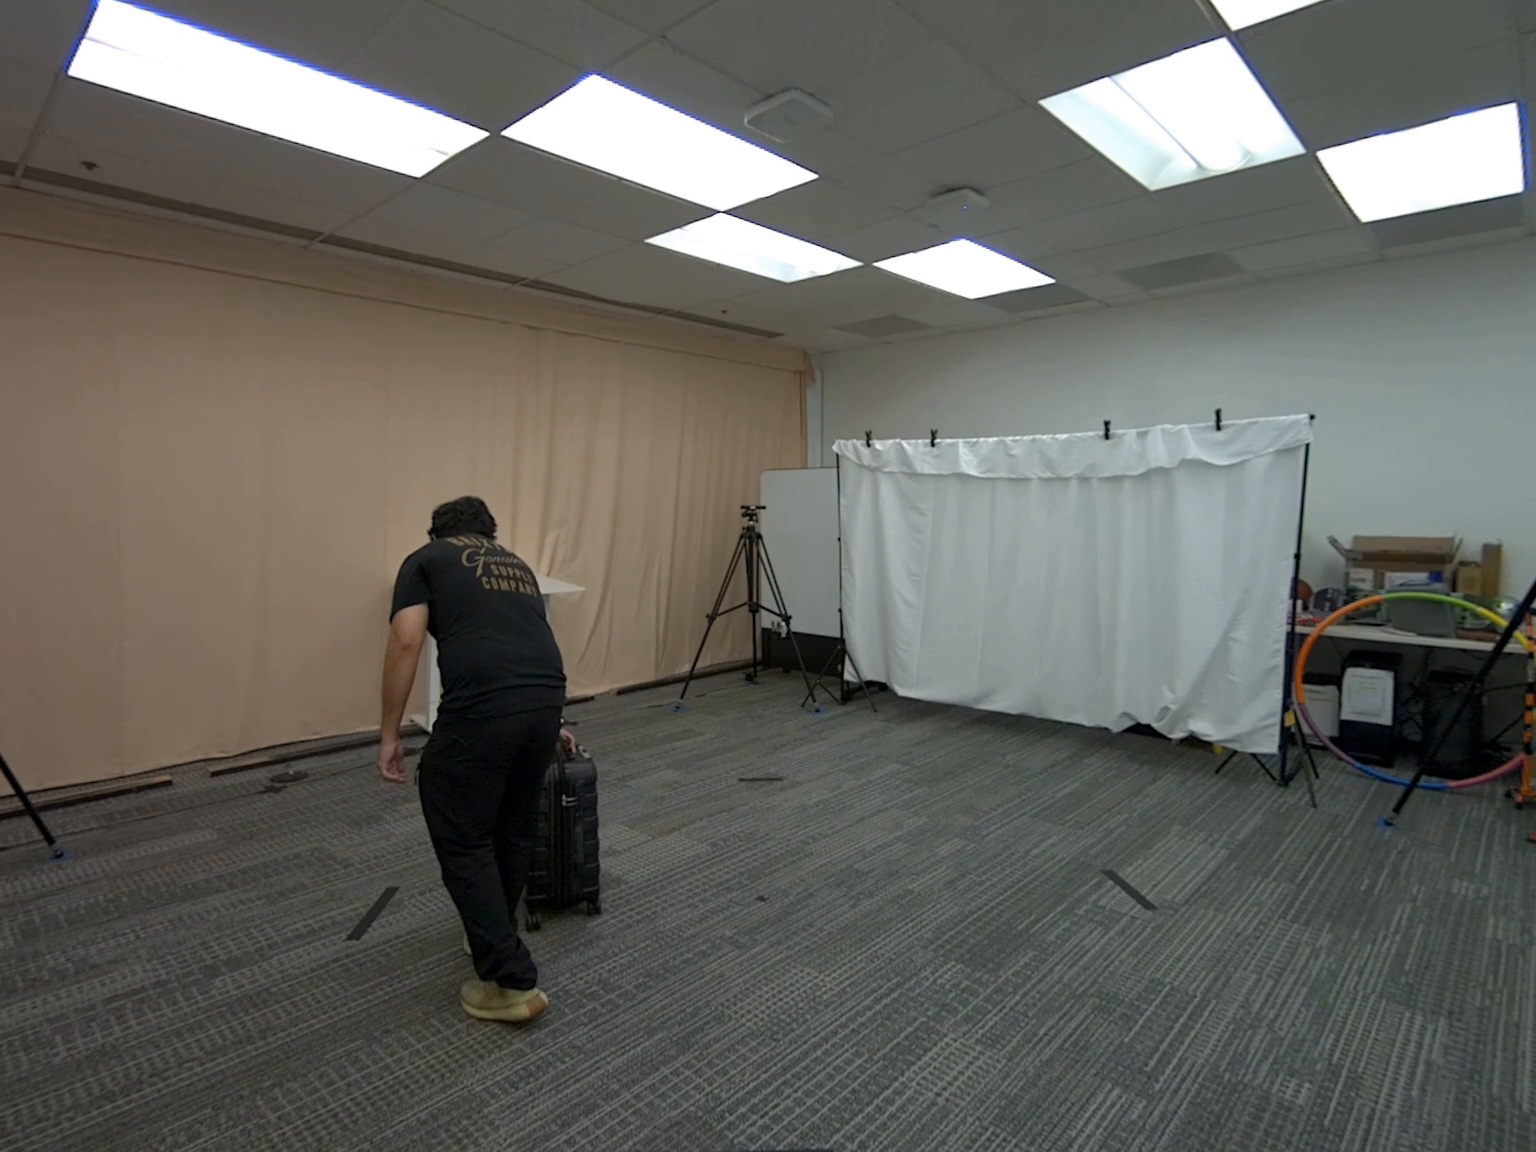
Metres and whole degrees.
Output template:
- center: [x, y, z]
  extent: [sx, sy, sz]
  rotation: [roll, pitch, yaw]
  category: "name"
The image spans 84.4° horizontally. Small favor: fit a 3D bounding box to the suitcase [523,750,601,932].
- center: [-0.740, 0.875, 2.951]
  extent: [0.243, 0.548, 0.384]
  rotation: [-1, 5, -22]
  category: "suitcase"
